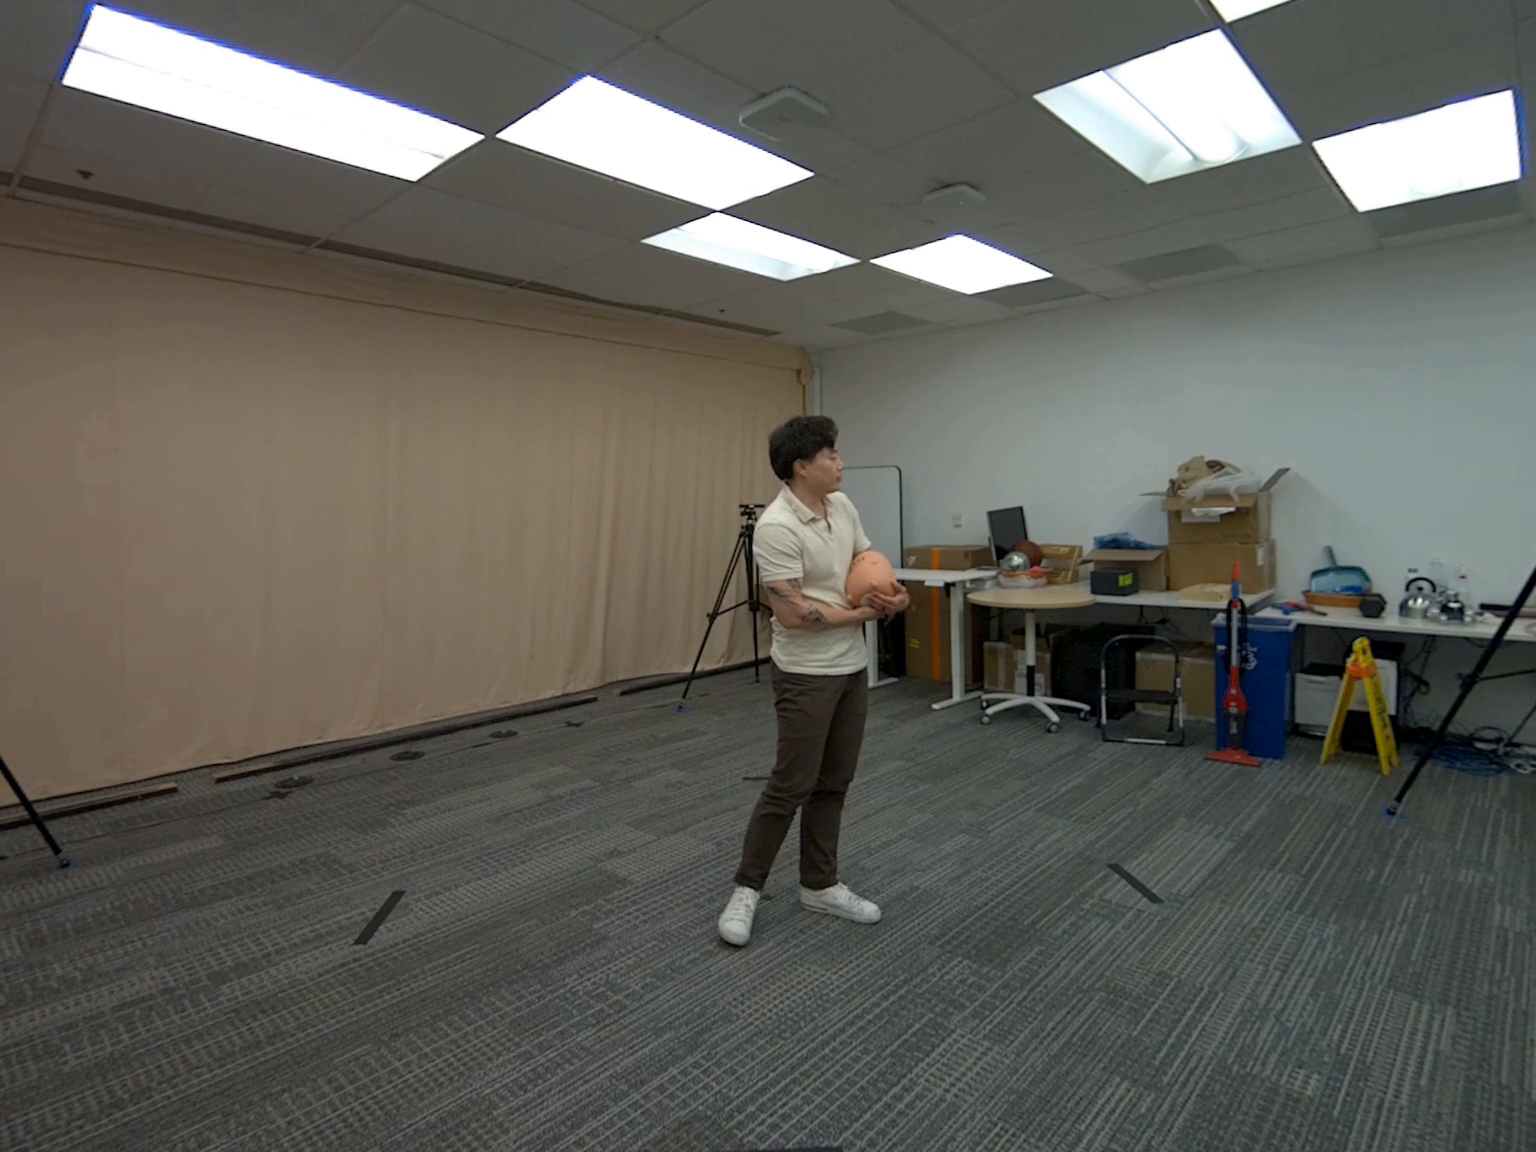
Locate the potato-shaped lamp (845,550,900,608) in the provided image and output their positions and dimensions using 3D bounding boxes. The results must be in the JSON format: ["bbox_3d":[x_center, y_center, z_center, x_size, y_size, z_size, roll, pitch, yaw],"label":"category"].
[{"bbox_3d":[0.329,0.010,2.783,0.165,0.204,0.166,18,-52,-39],"label":"potato-shaped lamp"}]
